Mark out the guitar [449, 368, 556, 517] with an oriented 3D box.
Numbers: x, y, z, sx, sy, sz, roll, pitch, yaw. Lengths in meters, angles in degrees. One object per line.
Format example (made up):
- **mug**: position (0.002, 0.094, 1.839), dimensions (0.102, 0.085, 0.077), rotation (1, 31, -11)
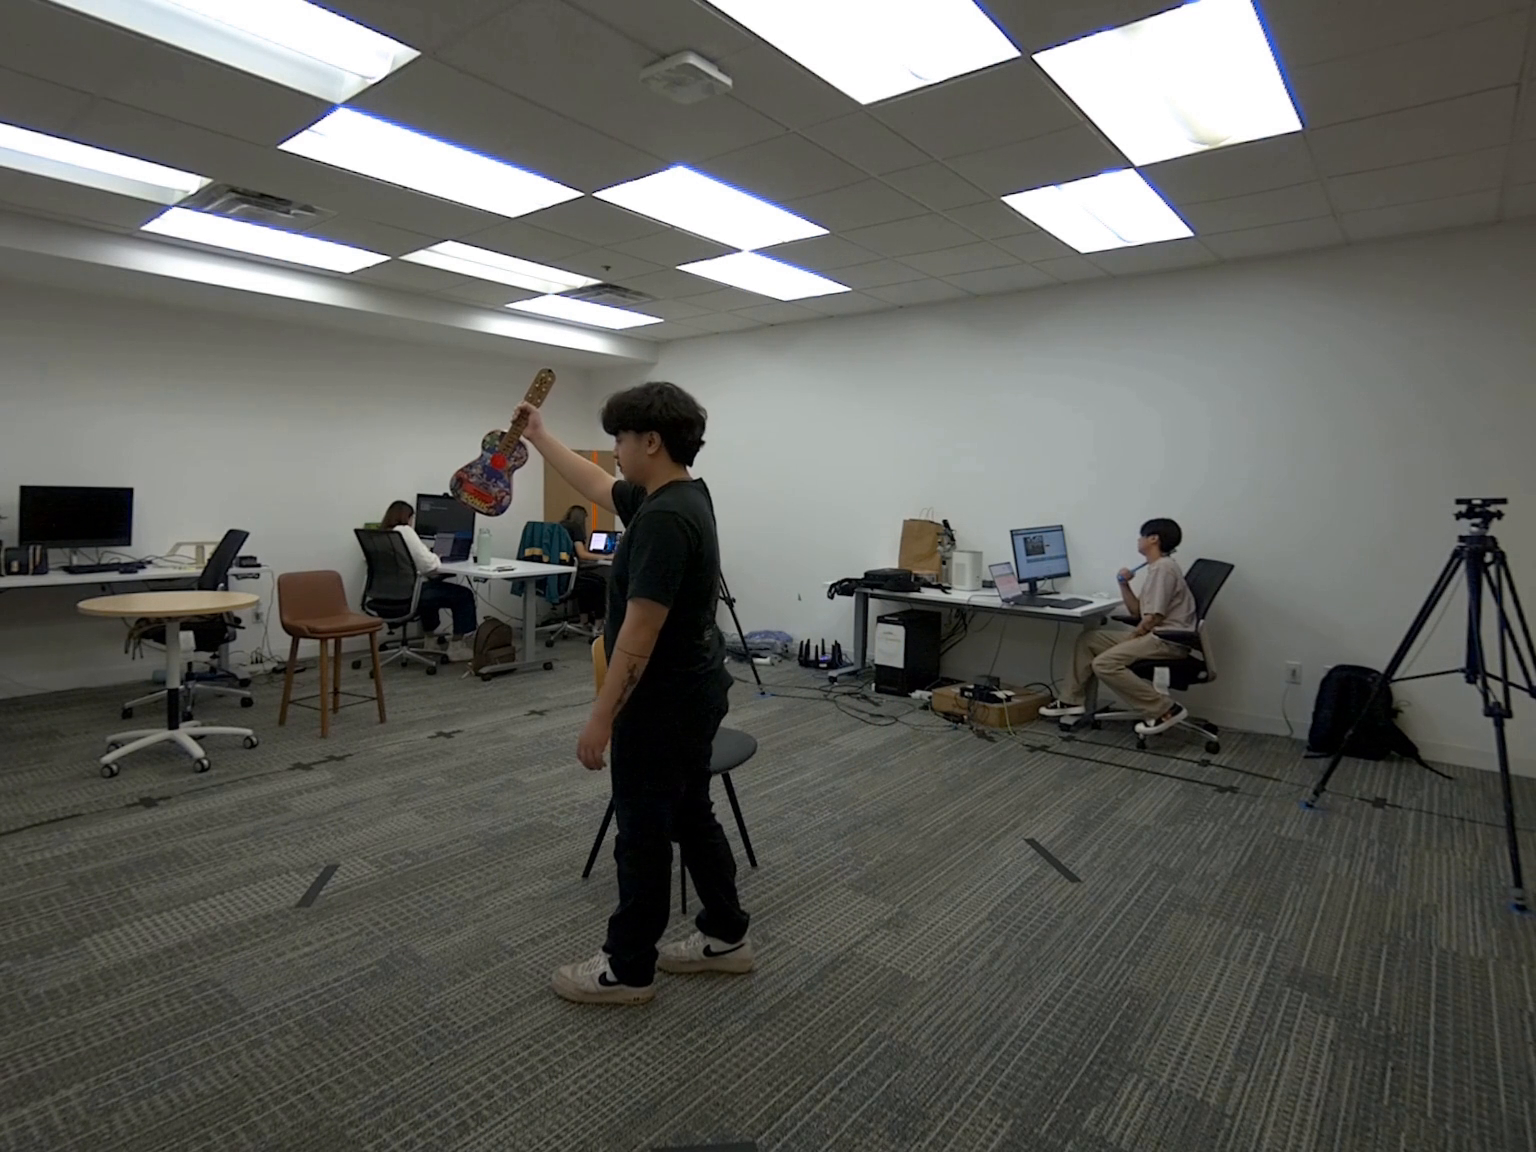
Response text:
- **guitar**: position (-0.789, -0.409, 2.648), dimensions (0.189, 0.498, 0.072), rotation (38, 2, -13)
